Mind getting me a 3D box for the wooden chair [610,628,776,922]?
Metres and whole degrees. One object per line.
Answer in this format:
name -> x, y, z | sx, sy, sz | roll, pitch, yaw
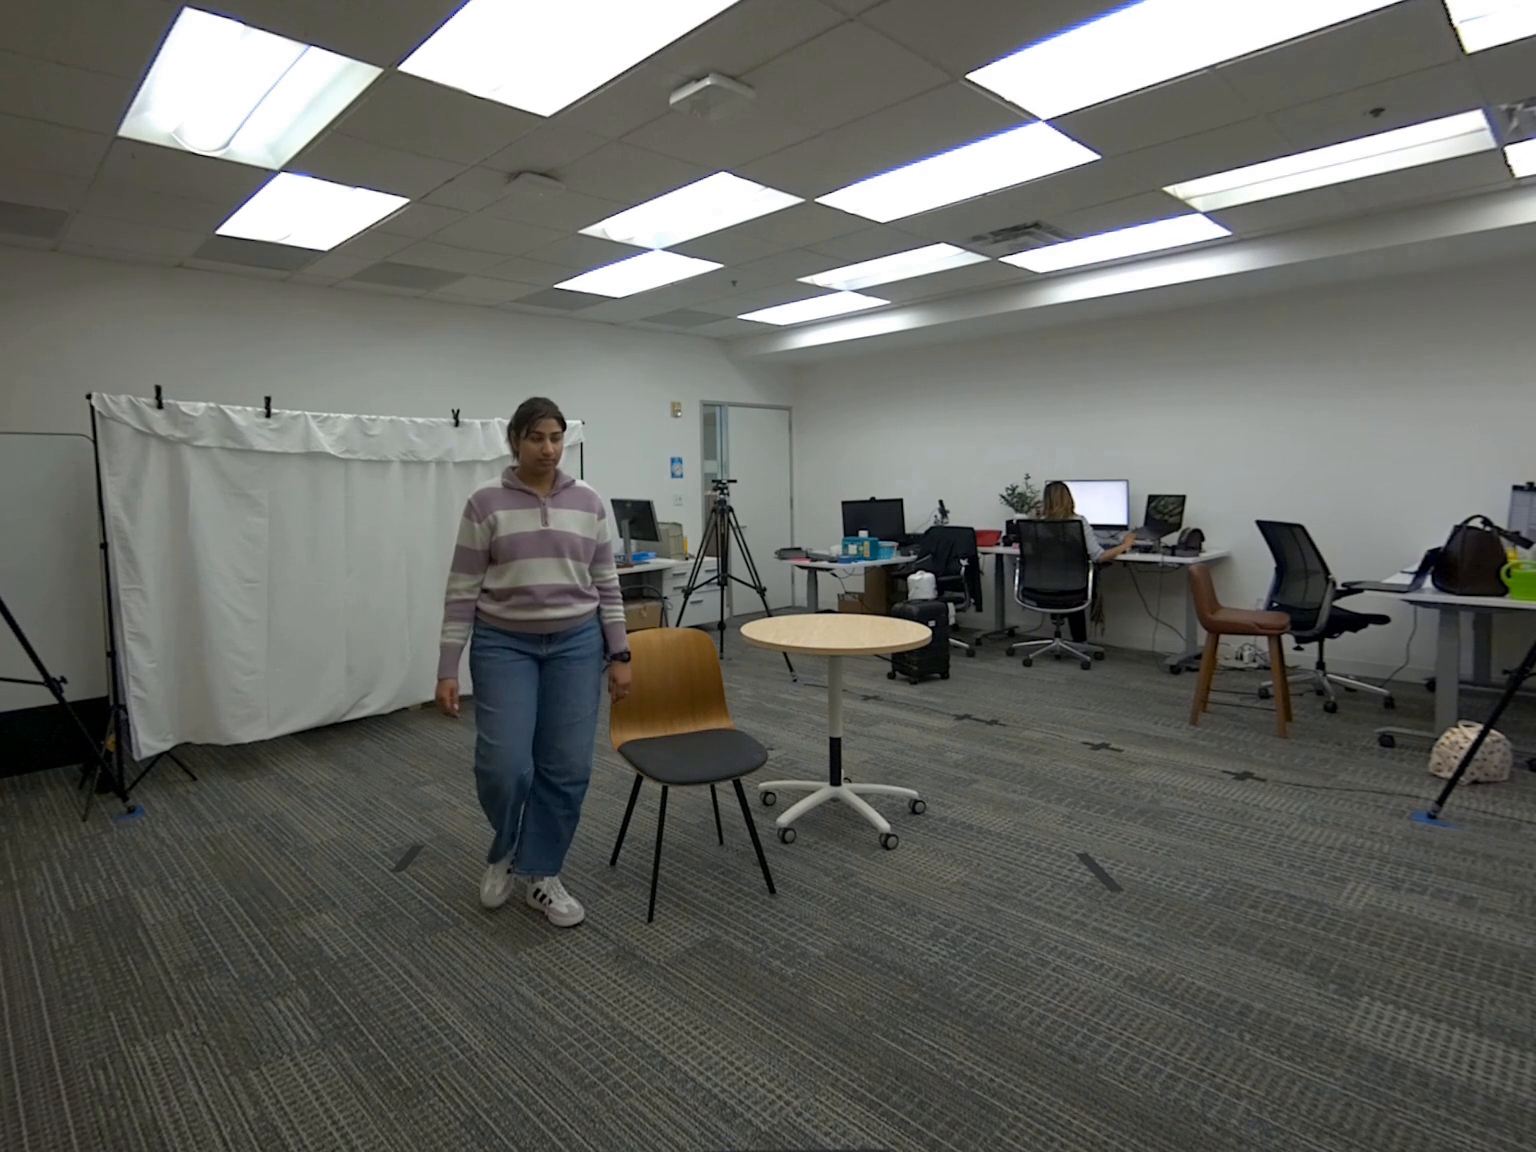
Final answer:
wooden chair -> -0.274, 0.640, 2.957 | 0.468, 0.877, 0.534 | -3, 0, -25
